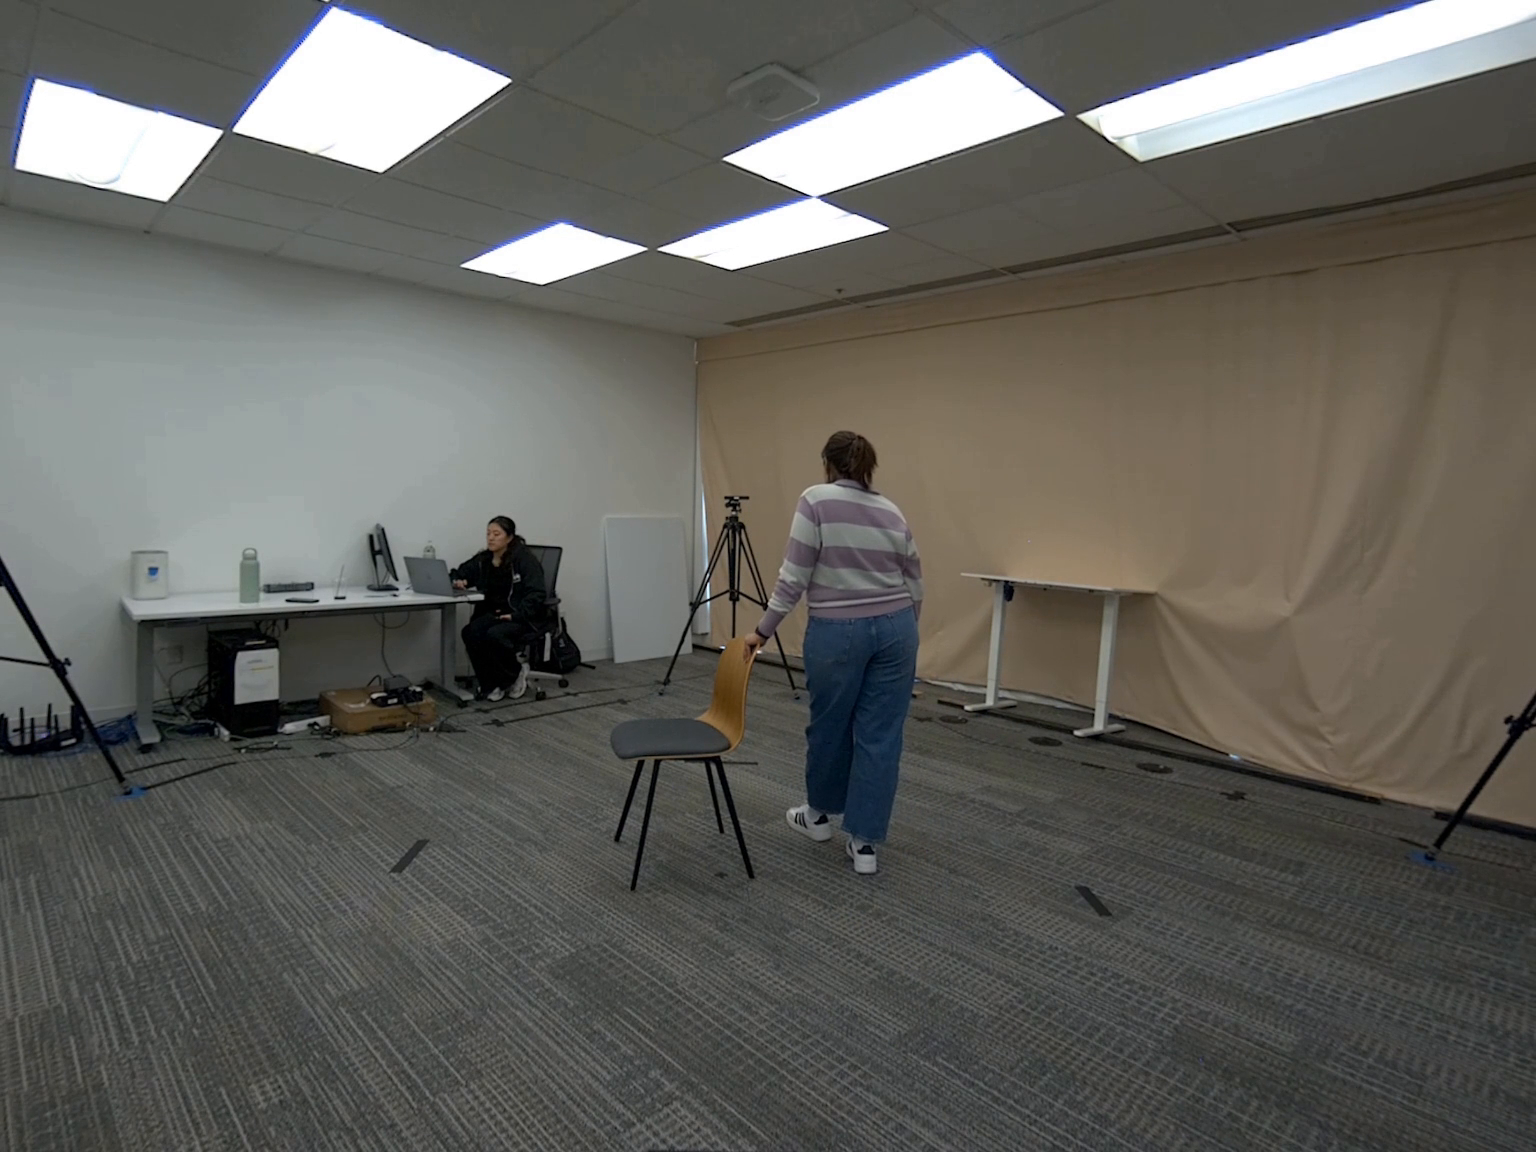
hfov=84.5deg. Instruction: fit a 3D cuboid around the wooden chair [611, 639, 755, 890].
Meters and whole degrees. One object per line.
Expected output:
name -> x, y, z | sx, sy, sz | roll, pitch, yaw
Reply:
wooden chair -> -0.336, 0.661, 3.193 | 0.516, 0.876, 0.485 | 5, 3, -17
